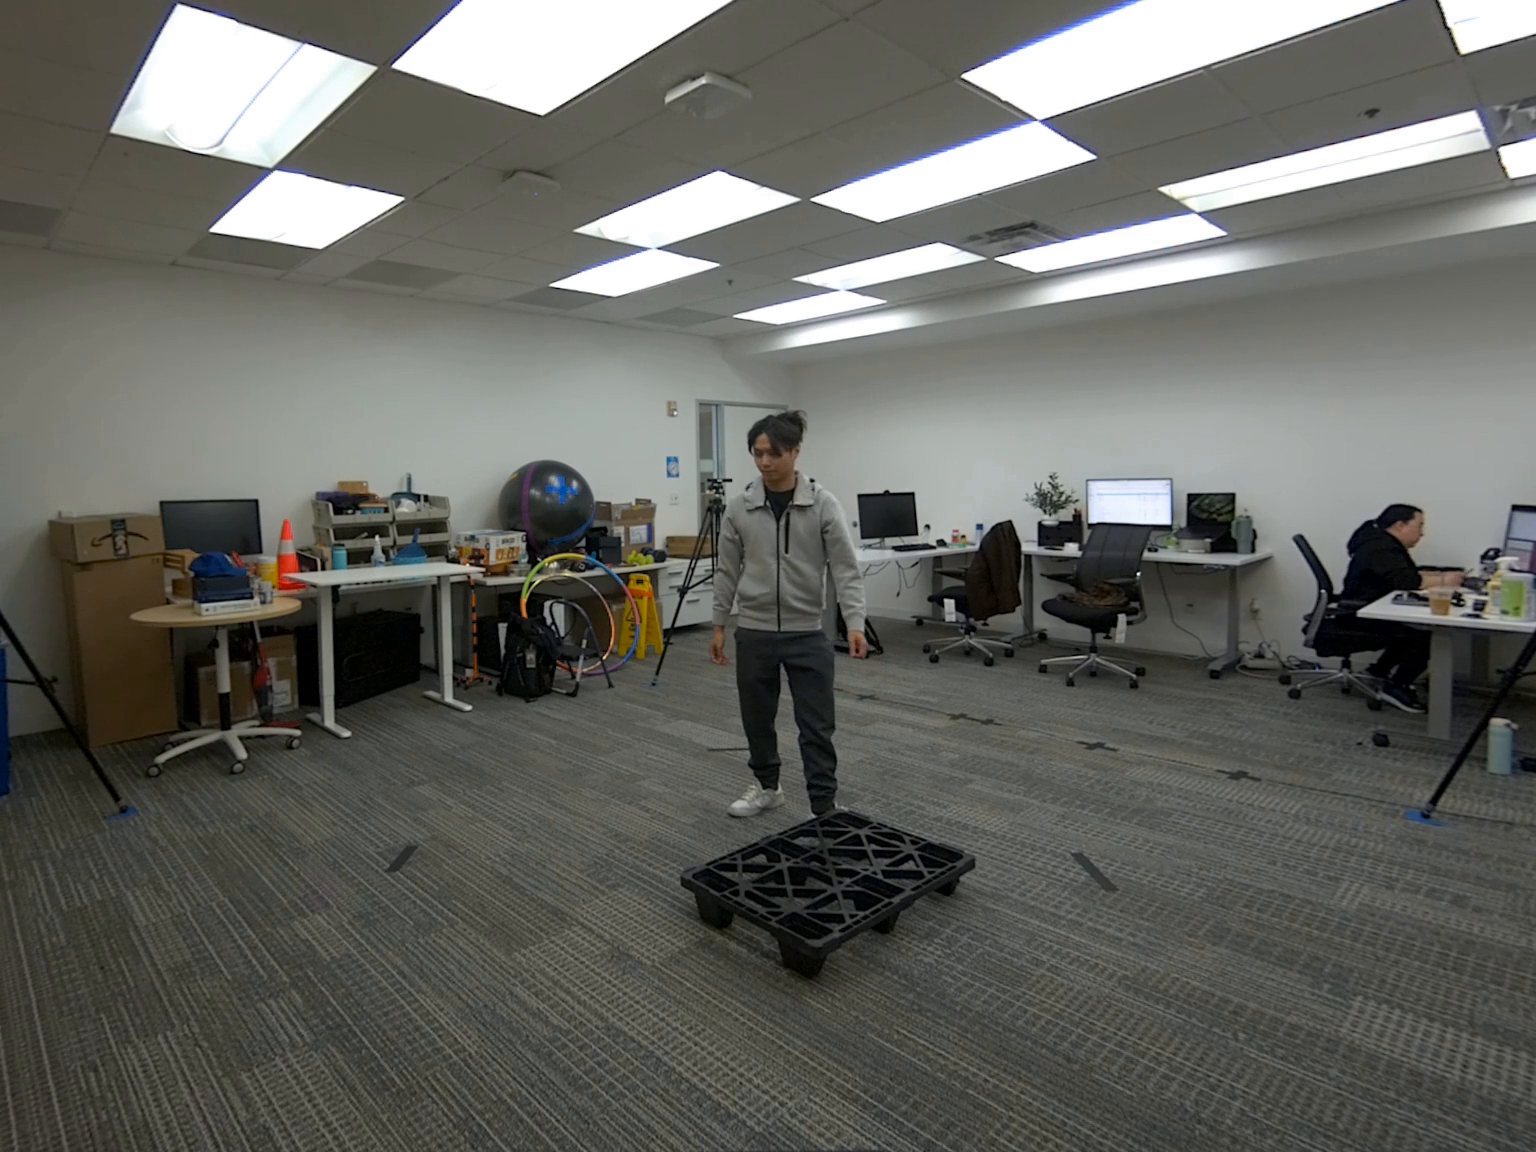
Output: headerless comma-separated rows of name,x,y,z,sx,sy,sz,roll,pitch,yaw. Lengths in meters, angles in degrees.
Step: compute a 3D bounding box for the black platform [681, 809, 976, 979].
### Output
black platform,0.200,1.012,2.793,0.785,0.142,0.624,-7,9,-43
